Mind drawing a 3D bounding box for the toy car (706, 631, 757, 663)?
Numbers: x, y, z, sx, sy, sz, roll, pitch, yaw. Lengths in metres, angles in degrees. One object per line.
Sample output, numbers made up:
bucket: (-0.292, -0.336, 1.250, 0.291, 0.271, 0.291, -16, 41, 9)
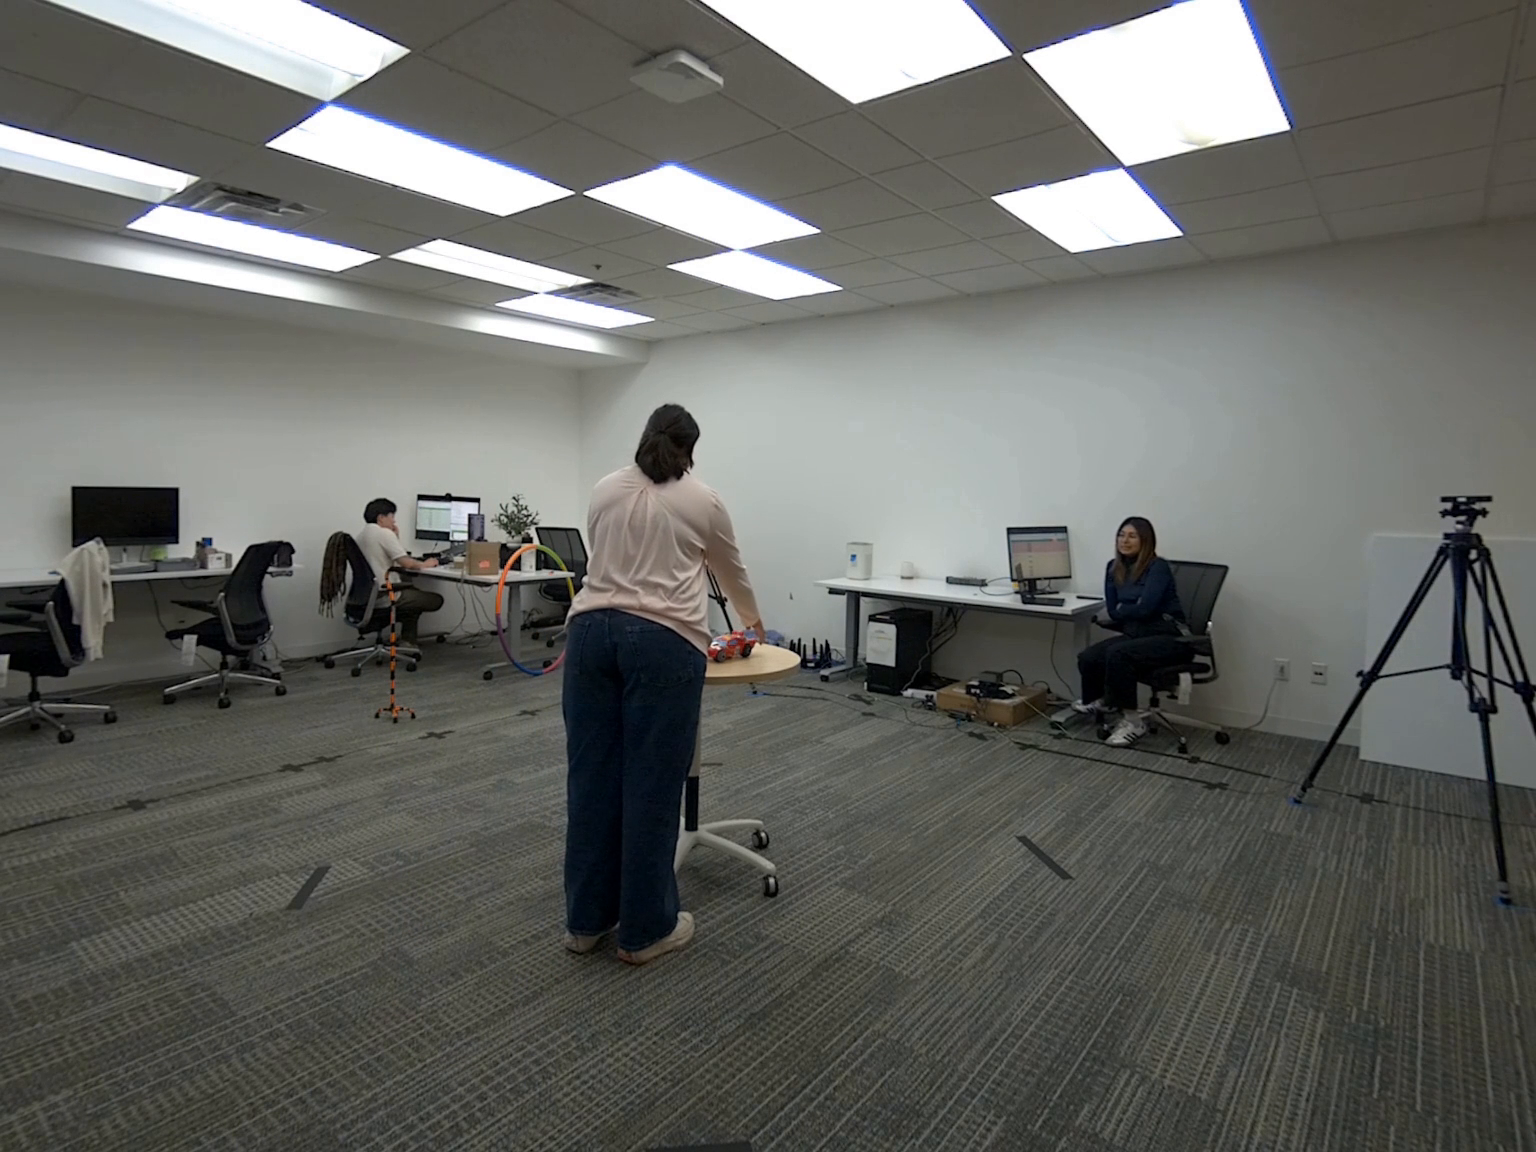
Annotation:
toy car: (-0.160, 0.257, 3.063, 0.135, 0.082, 0.249, 5, 17, 39)
